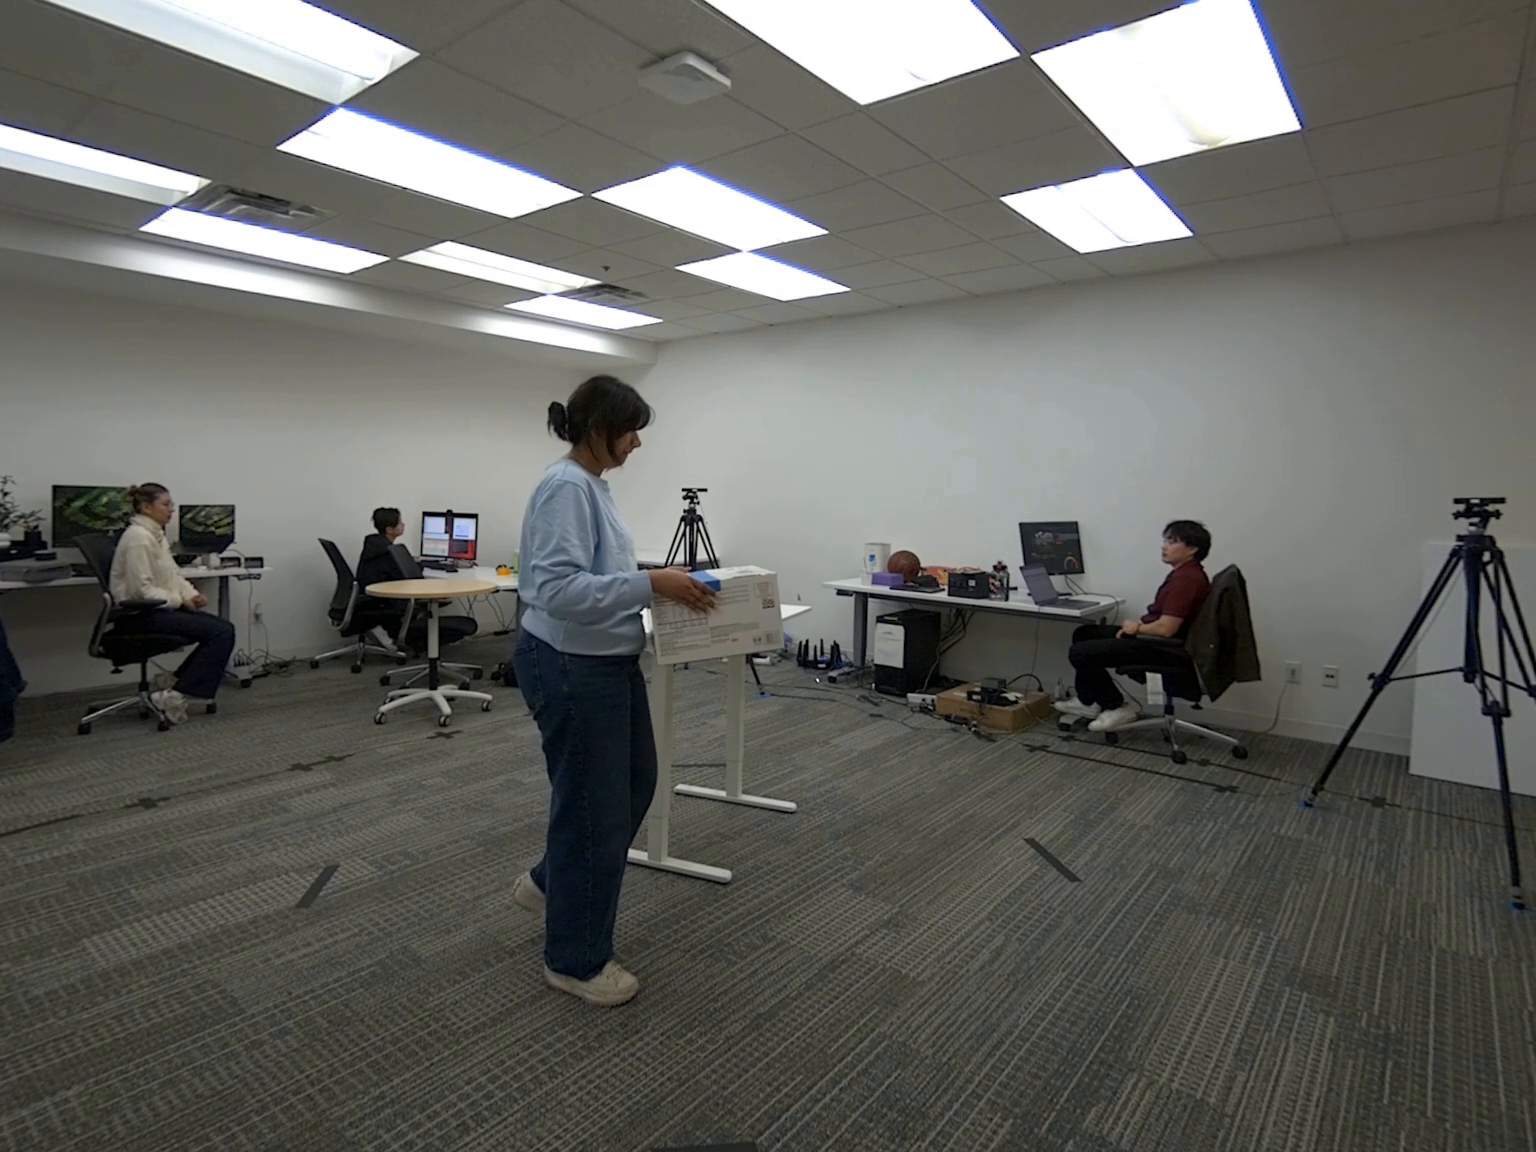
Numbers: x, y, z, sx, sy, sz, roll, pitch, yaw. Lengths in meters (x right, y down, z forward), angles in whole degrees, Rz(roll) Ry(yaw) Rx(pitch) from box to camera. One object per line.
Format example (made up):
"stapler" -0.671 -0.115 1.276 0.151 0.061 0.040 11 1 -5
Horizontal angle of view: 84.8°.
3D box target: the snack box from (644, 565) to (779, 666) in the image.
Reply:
"snack box" -0.181 0.100 2.414 0.338 0.205 0.409 -6 4 -7
